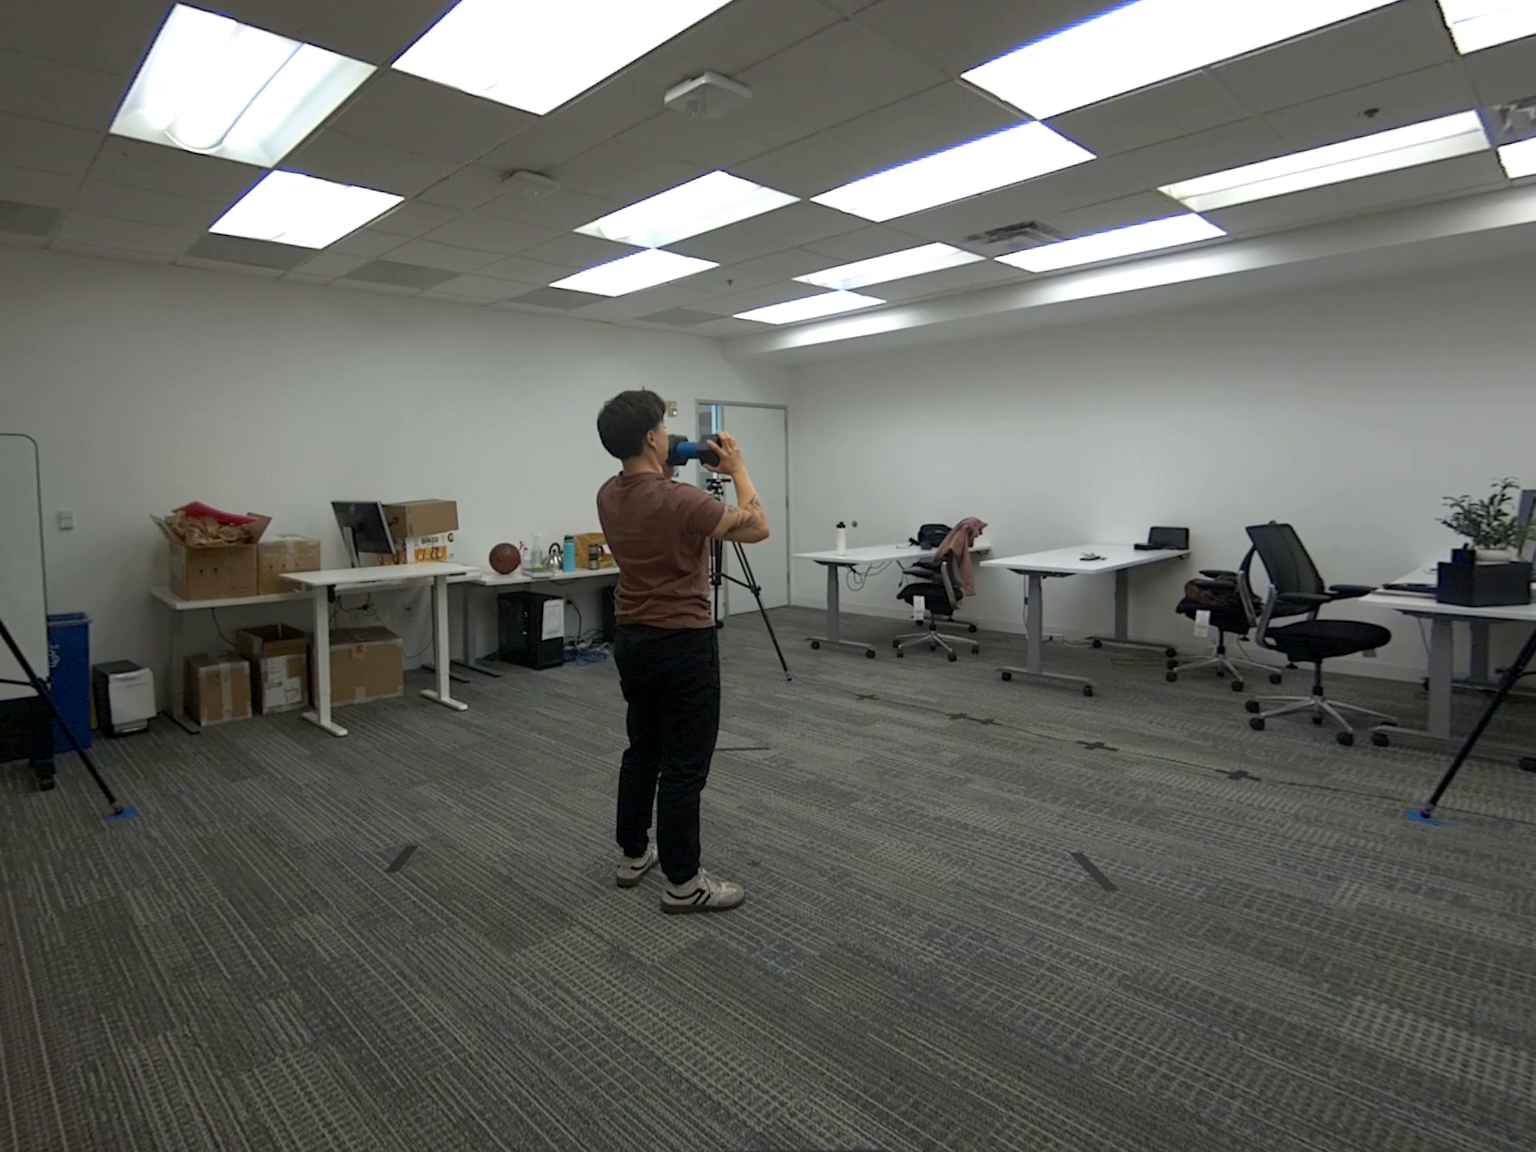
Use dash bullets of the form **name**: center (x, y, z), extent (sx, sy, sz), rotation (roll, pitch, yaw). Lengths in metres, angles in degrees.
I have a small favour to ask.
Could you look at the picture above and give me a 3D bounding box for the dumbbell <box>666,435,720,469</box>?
- **dumbbell**: center (-0.252, -0.439, 2.934), extent (0.303, 0.120, 0.108), rotation (8, 38, 45)
